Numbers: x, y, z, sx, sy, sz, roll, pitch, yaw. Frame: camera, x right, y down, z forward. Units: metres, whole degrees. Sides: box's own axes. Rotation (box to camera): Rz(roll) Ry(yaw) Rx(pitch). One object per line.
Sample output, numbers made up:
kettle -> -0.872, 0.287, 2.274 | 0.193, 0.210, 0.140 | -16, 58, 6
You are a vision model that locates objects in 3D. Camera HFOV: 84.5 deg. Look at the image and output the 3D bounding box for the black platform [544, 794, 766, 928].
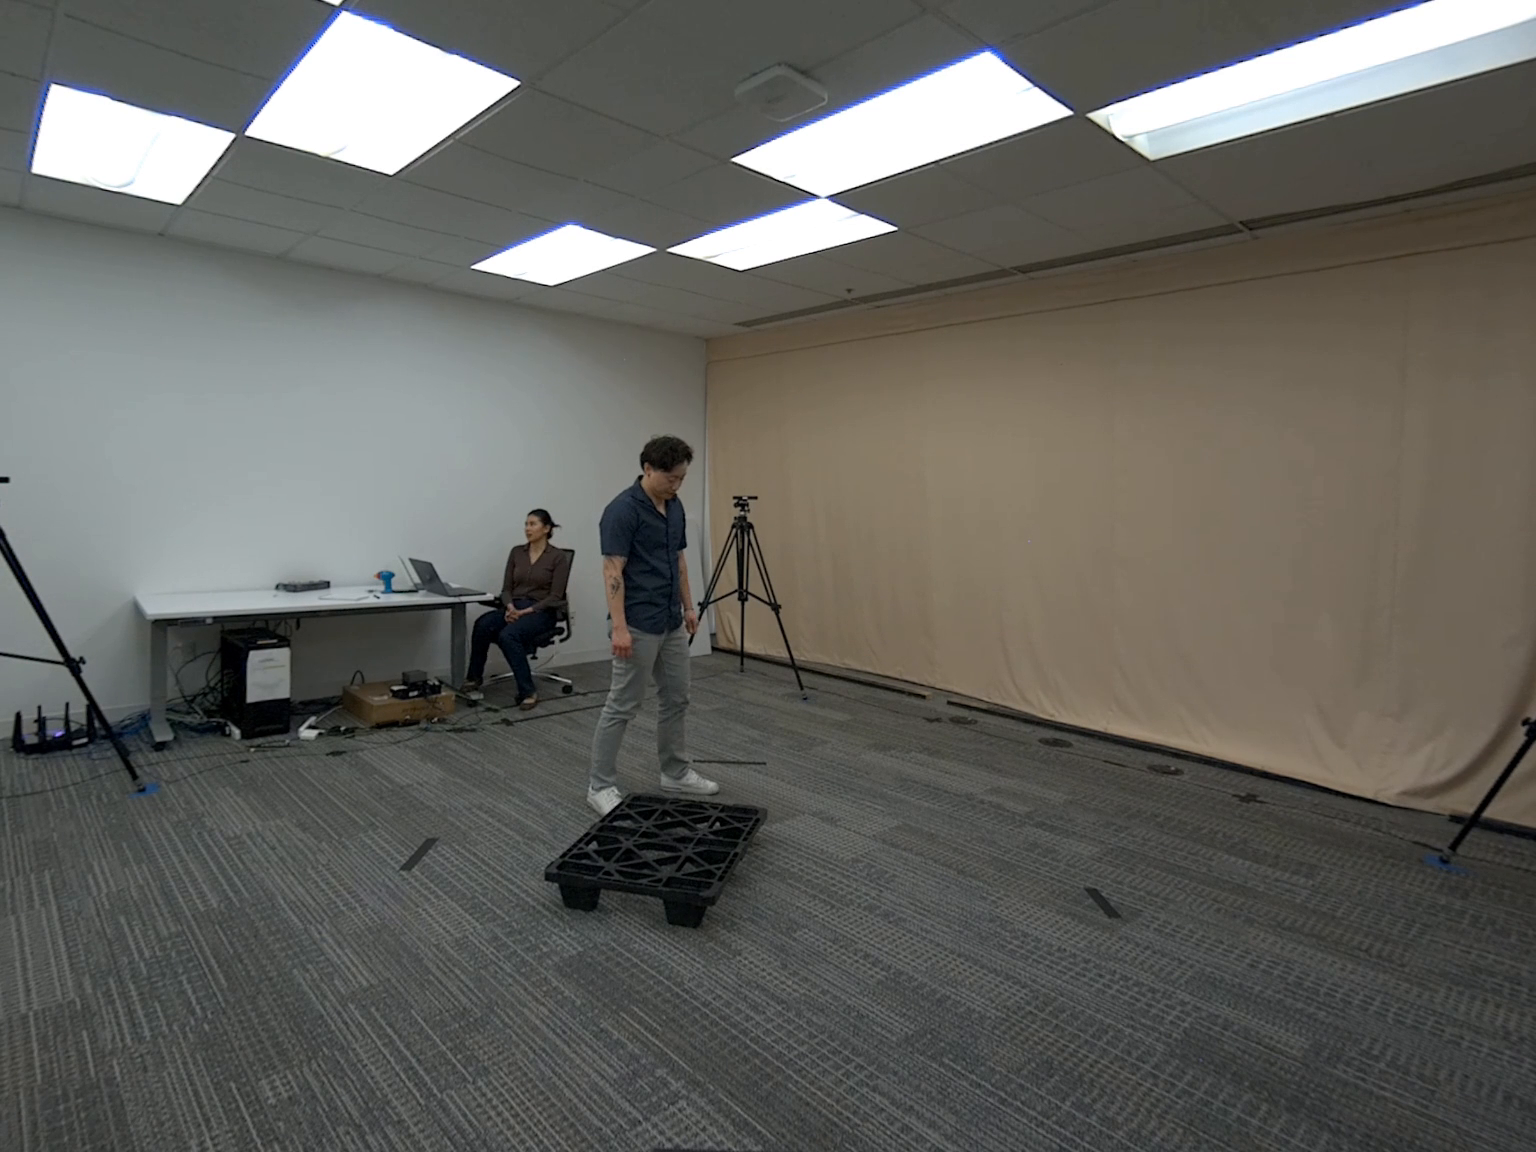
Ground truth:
black platform -> -0.376, 1.028, 3.117 | 0.612, 0.143, 0.799 | 3, 6, 13
